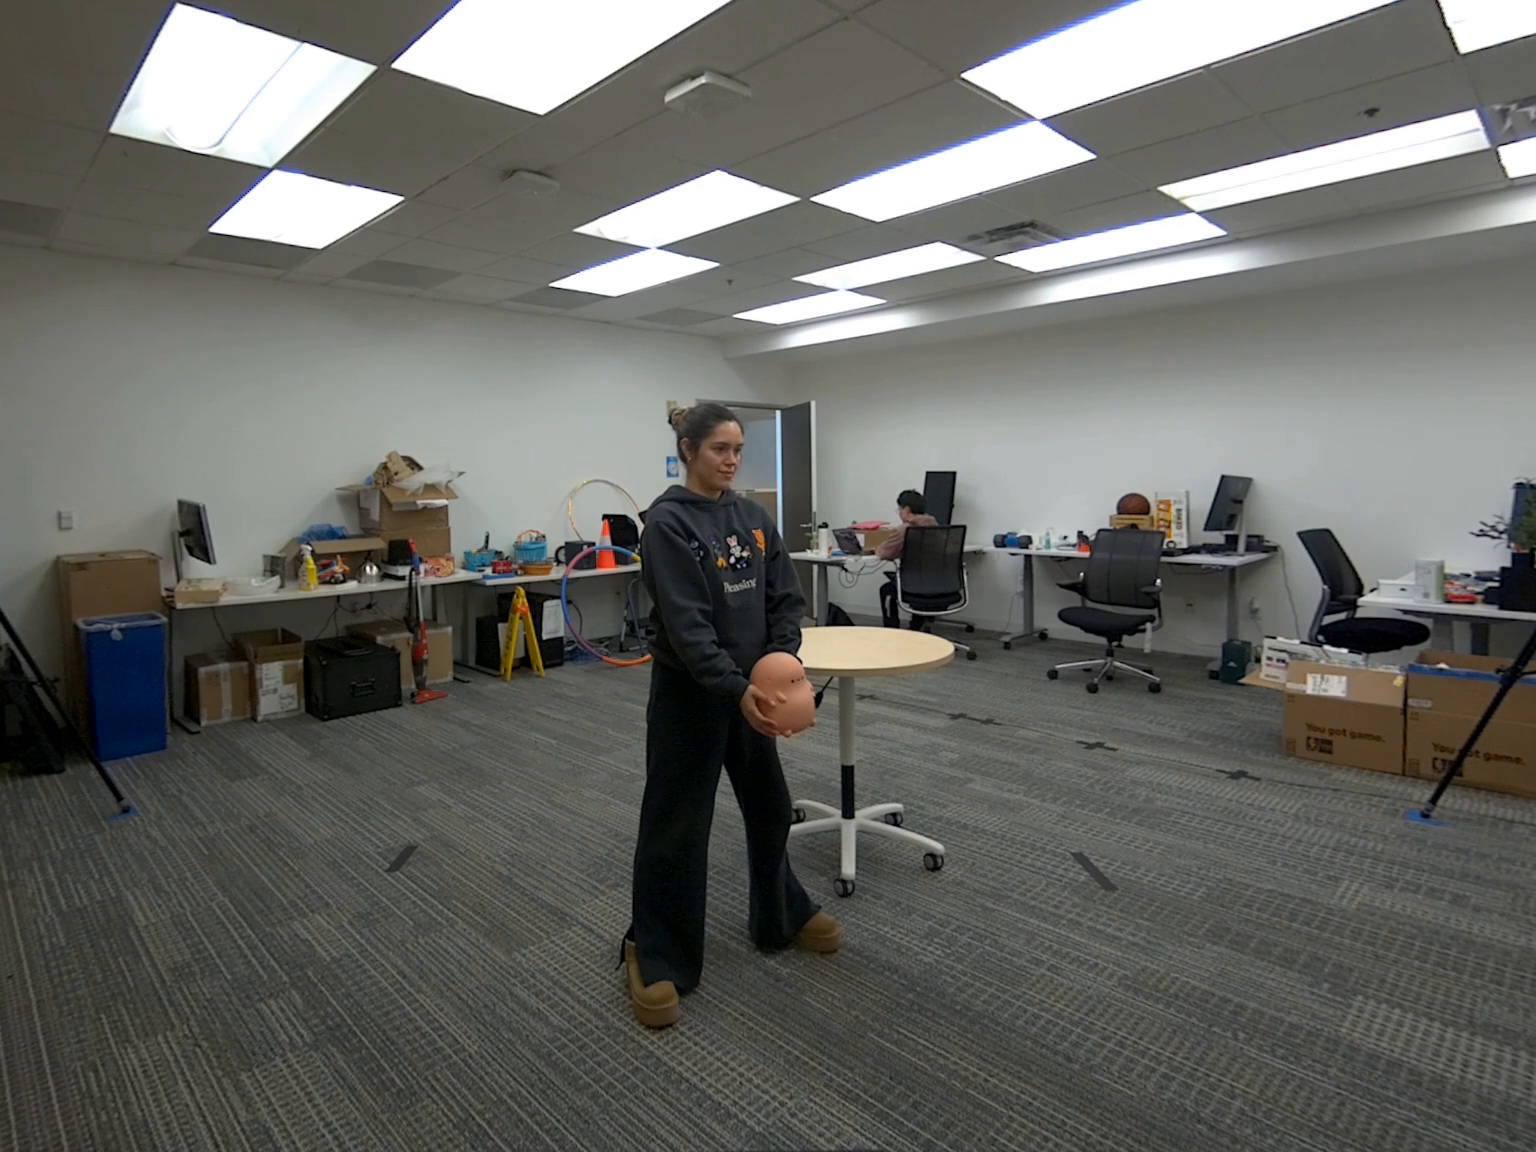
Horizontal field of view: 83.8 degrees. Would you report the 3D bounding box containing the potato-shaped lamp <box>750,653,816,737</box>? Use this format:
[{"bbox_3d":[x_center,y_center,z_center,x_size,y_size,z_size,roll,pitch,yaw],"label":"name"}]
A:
[{"bbox_3d":[0.018,0.296,2.184,0.177,0.197,0.161,6,11,43],"label":"potato-shaped lamp"}]
